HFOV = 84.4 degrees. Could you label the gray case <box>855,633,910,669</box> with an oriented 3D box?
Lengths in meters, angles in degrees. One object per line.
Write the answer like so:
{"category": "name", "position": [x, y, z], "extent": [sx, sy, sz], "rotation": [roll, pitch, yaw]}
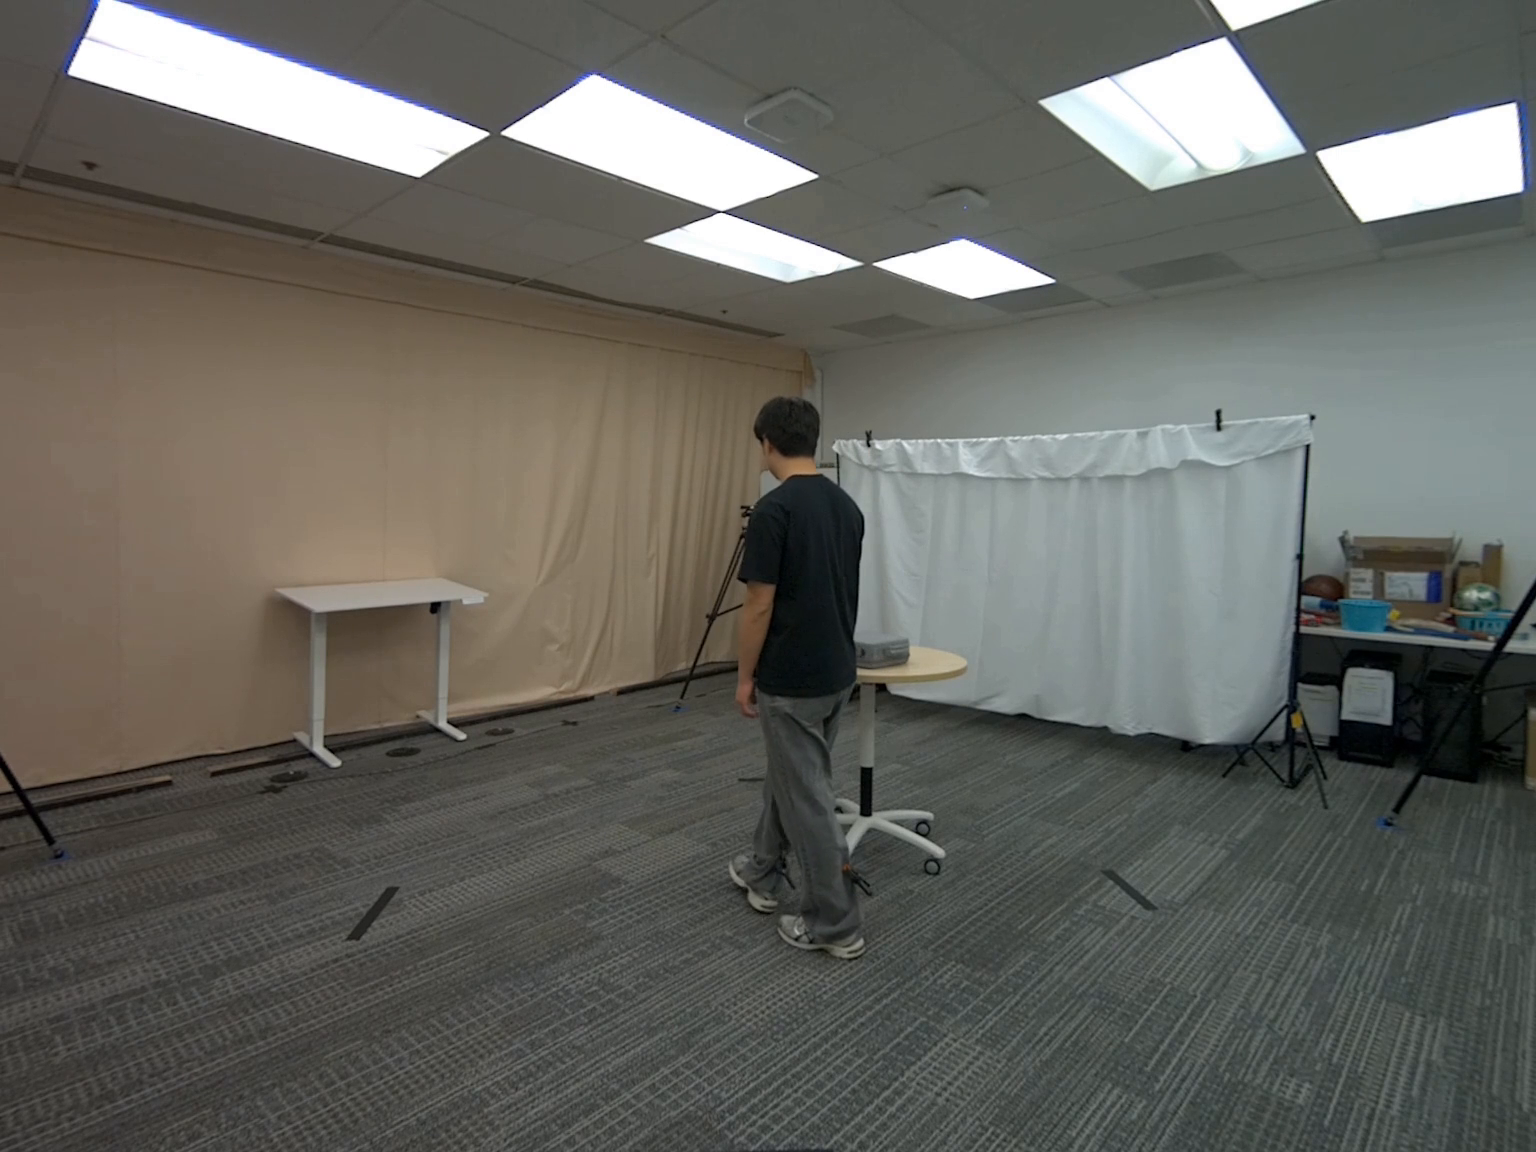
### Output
{"category": "gray case", "position": [0.393, 0.284, 3.257], "extent": [0.255, 0.103, 0.297], "rotation": [-2, 5, -42]}
